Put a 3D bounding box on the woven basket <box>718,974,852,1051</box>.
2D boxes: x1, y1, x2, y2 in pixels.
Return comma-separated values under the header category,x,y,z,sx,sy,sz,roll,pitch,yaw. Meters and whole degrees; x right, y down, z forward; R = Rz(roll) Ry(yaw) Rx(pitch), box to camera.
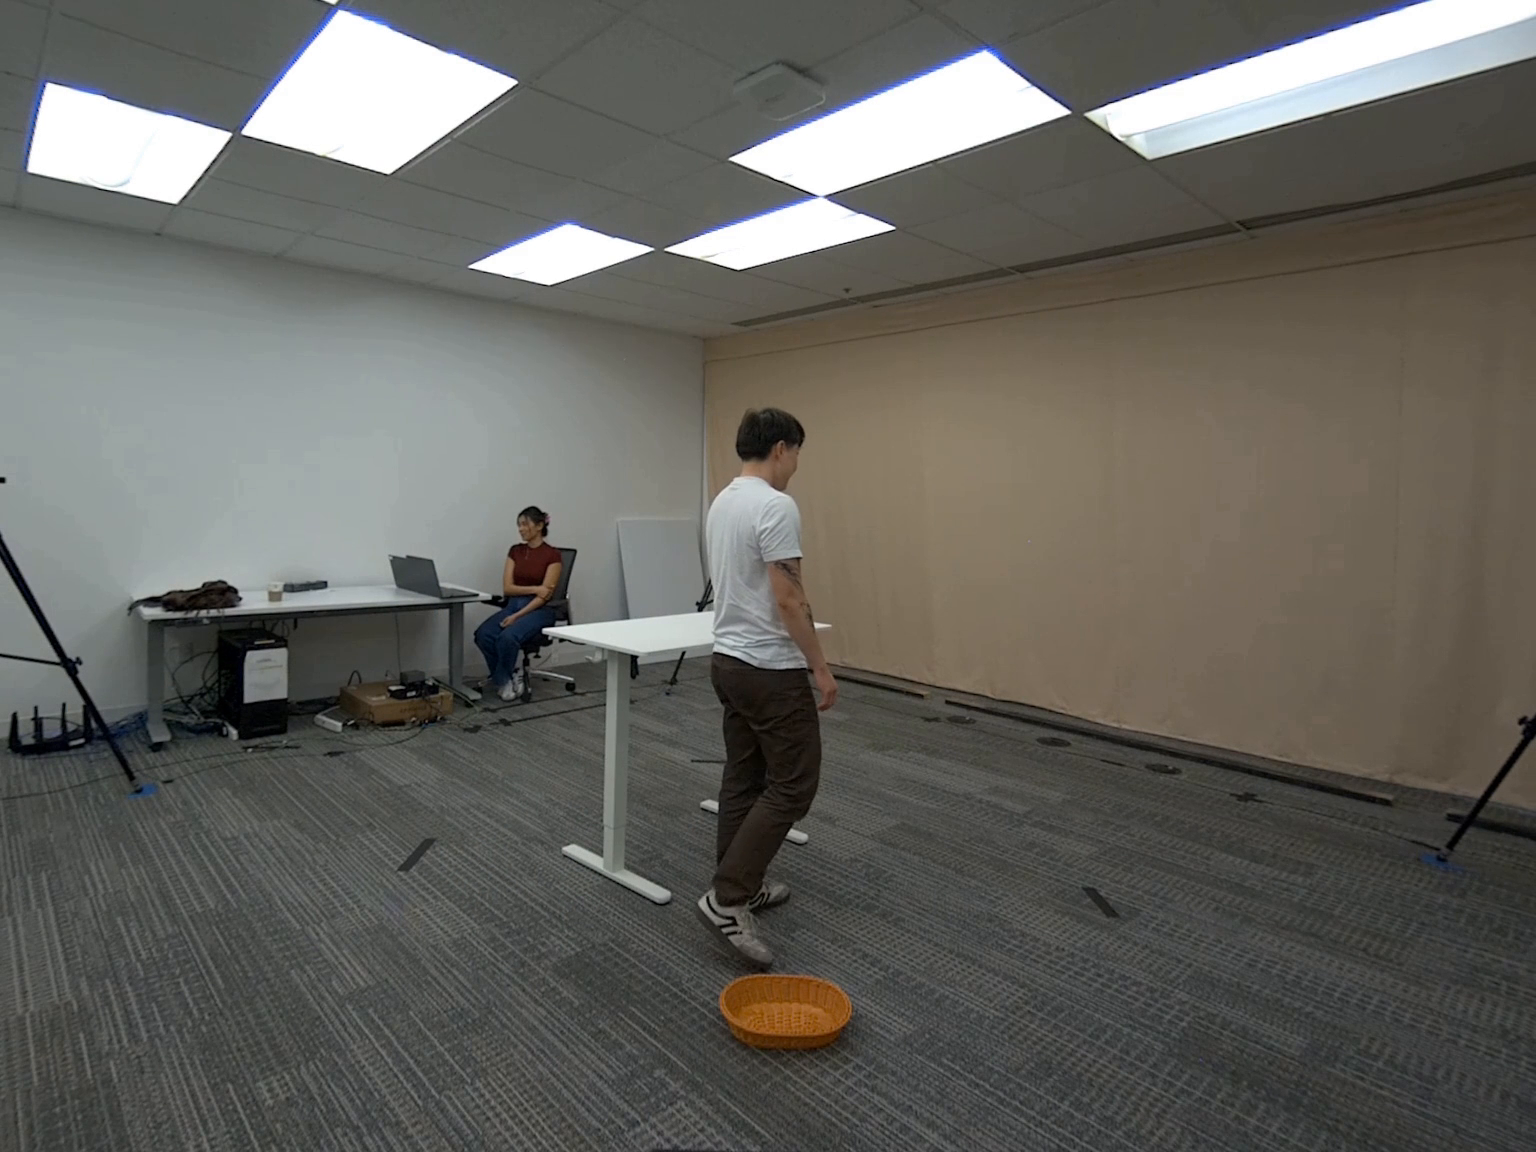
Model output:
category,x,y,z,sx,sy,sz,roll,pitch,yaw
woven basket,0.038,1.154,2.209,0.351,0.073,0.253,2,6,1
